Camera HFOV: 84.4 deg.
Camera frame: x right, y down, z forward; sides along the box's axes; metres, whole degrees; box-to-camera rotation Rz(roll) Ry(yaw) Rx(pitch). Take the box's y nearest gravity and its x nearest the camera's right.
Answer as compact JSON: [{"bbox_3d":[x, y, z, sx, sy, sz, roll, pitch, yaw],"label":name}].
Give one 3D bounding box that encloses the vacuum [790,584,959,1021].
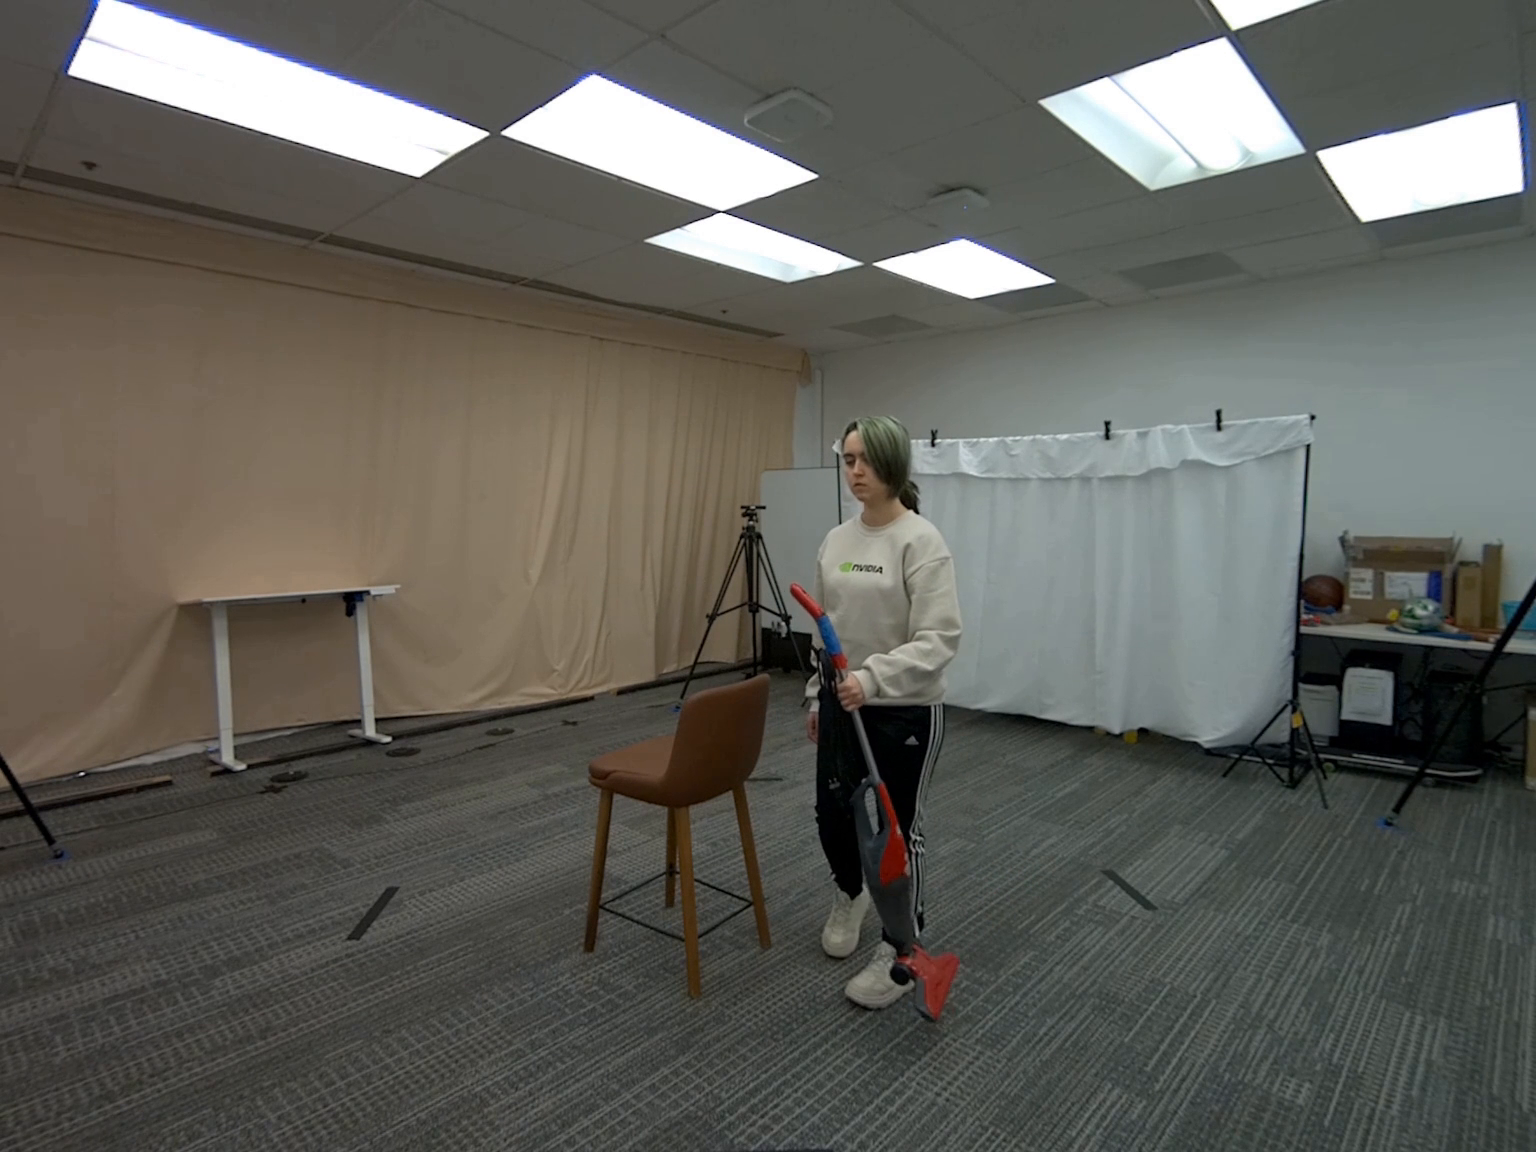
[{"bbox_3d":[0.235,0.534,2.149,0.147,1.049,0.247,-17,1,29],"label":"vacuum"}]
